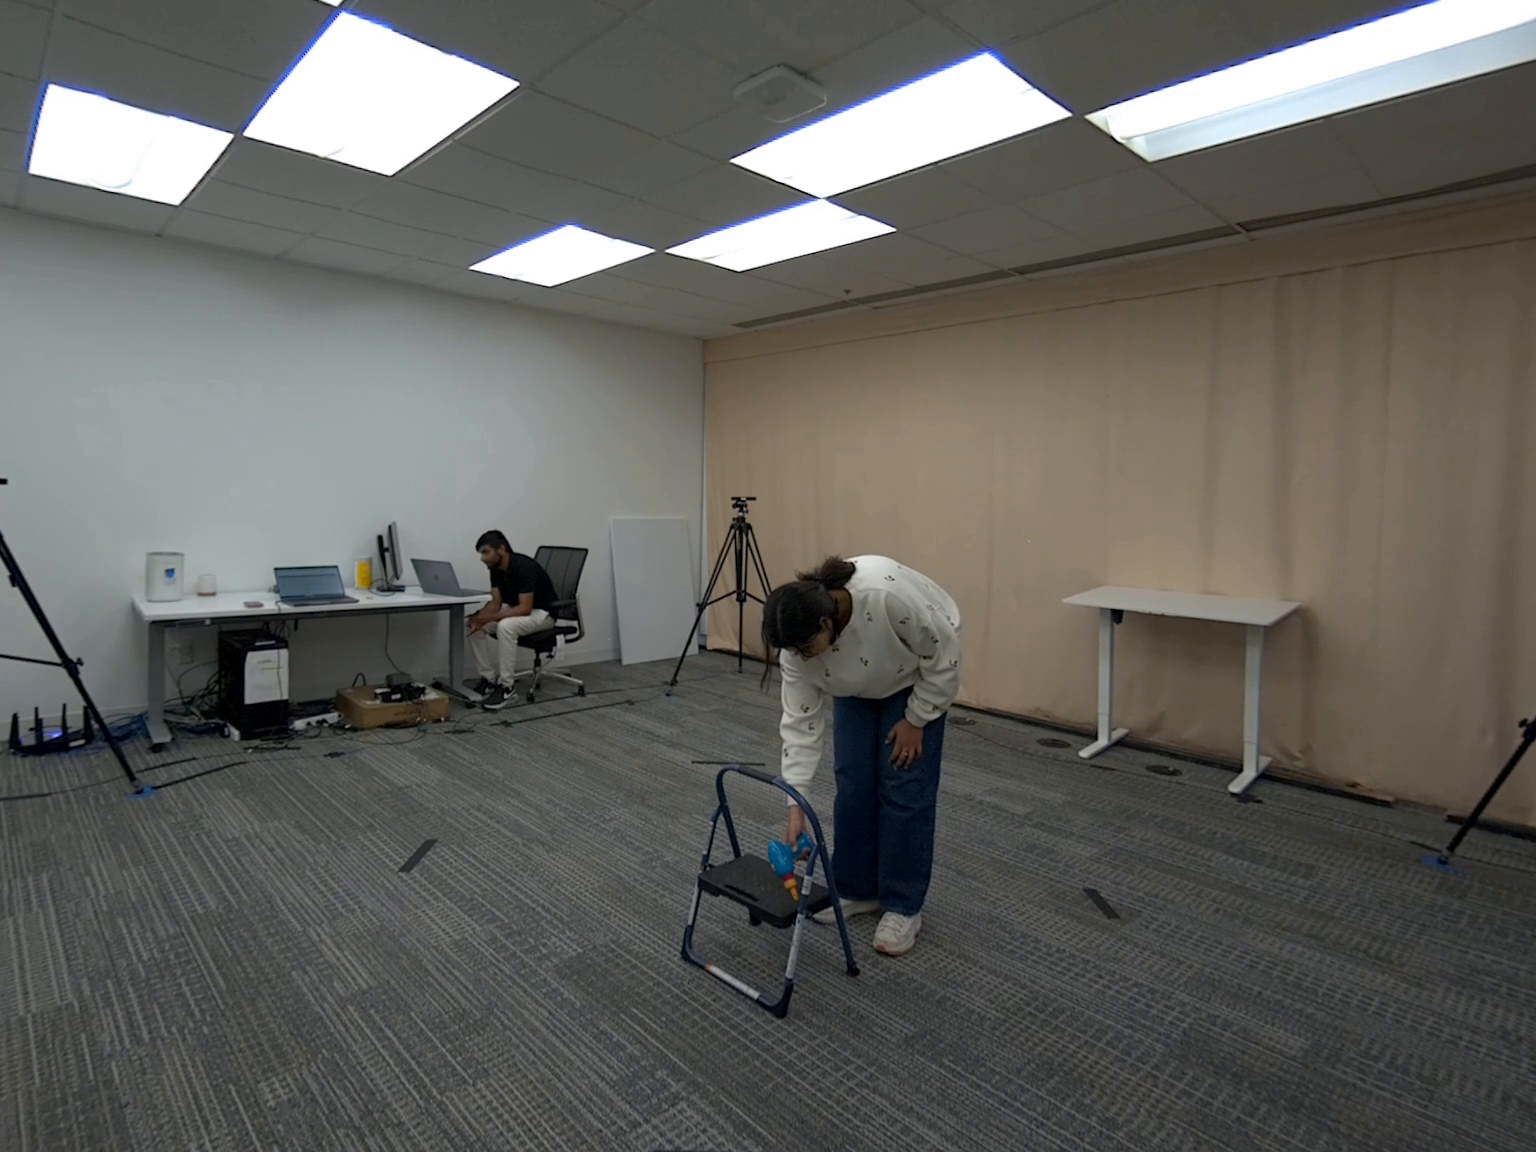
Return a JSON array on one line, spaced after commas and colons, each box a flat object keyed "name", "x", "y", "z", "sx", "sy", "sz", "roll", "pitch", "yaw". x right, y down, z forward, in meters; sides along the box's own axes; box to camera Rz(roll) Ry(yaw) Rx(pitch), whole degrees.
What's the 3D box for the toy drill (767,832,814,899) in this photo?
[{"name": "toy drill", "x": 0.077, "y": 0.820, "z": 2.363, "sx": 0.144, "sy": 0.174, "sz": 0.060, "roll": -8, "pitch": -32, "yaw": -27}]
